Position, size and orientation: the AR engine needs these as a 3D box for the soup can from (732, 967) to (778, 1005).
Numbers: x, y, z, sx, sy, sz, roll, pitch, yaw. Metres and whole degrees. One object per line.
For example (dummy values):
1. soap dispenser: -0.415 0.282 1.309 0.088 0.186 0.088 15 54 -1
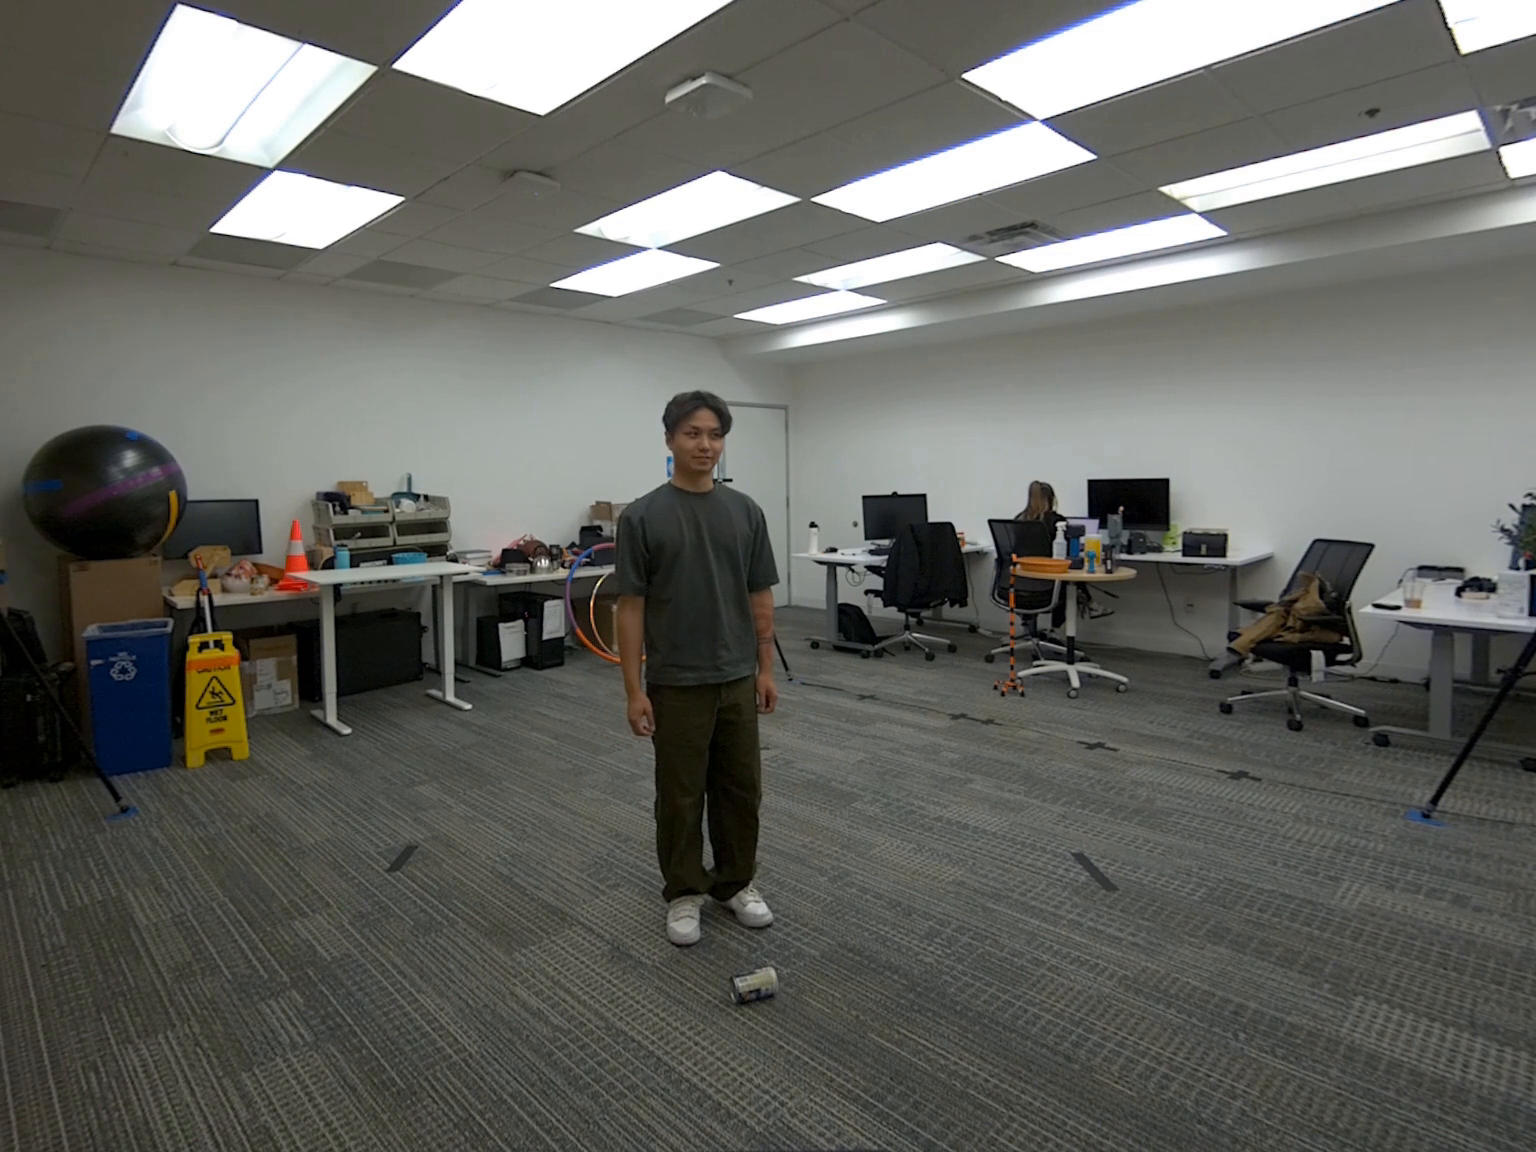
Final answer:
1. soup can: -0.036 1.108 2.308 0.119 0.067 0.068 -7 7 -20
